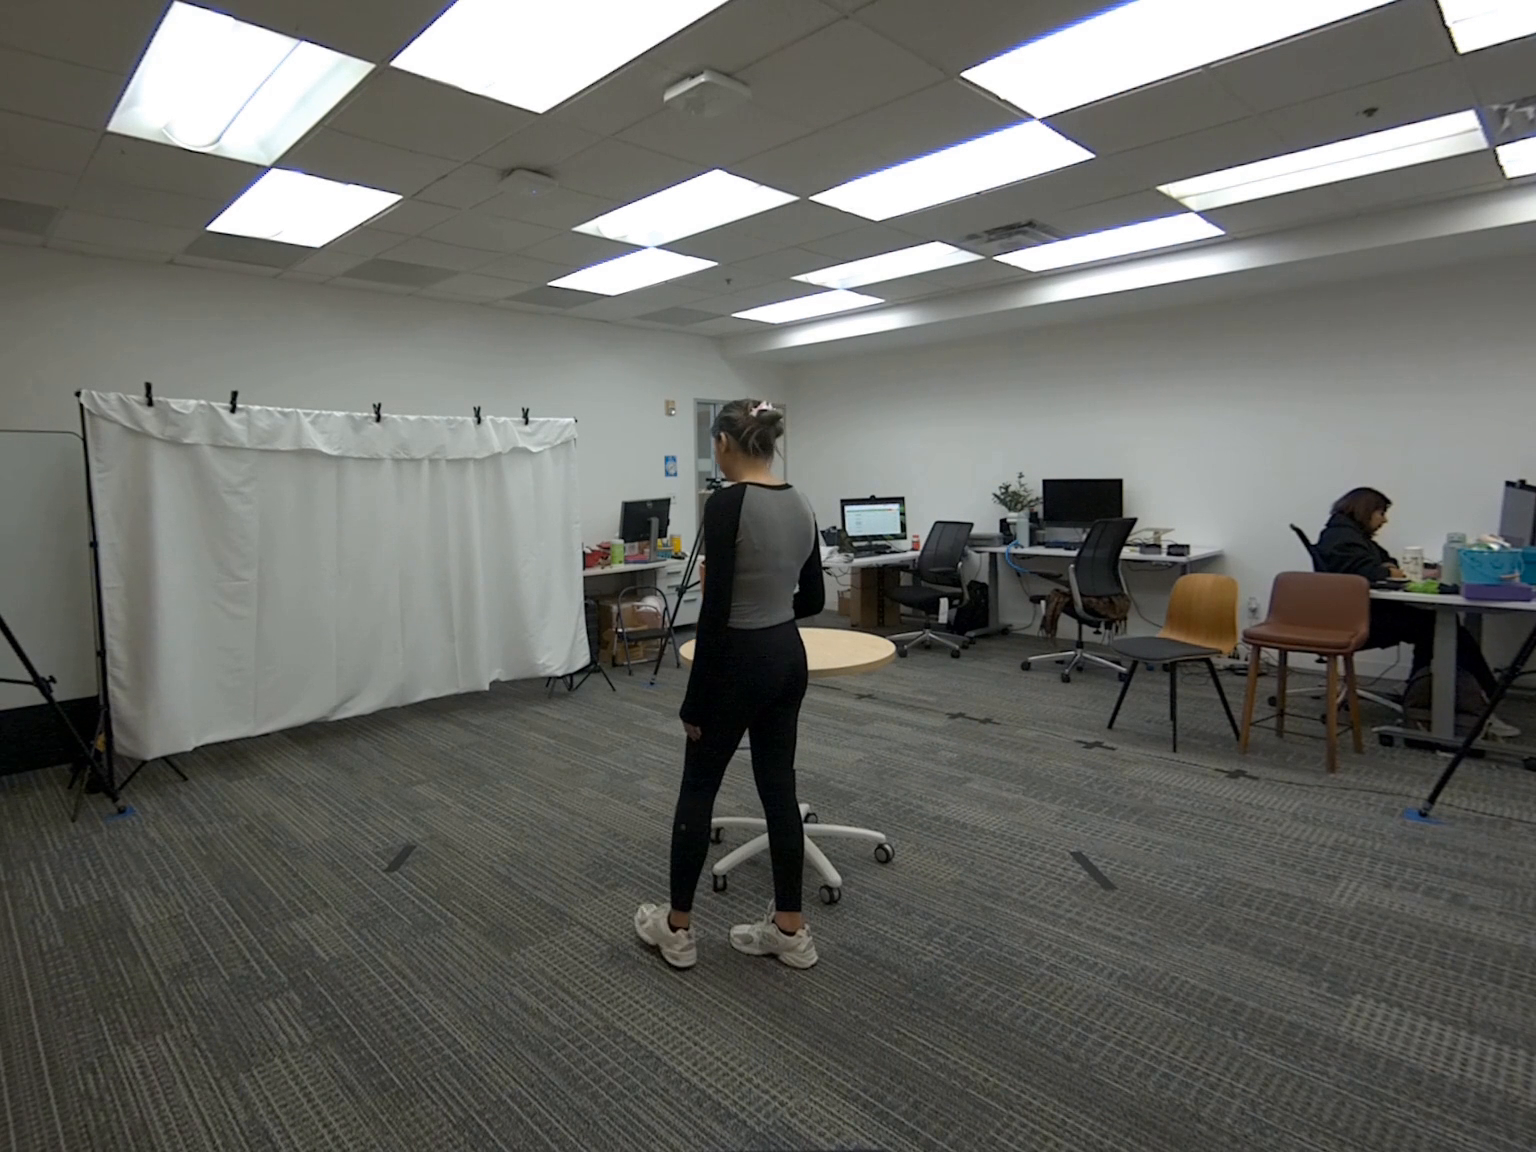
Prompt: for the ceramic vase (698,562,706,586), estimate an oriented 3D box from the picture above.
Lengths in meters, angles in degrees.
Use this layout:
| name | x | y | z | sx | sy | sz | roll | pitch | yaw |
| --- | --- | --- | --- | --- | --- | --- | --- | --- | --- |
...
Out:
| name | x | y | z | sx | sy | sz | roll | pitch | yaw |
| --- | --- | --- | --- | --- | --- | --- | --- | --- | --- |
| ceramic vase | -0.138 | 0.058 | 2.753 | 0.139 | 0.217 | 0.156 | 8 | 19 | 43 |
